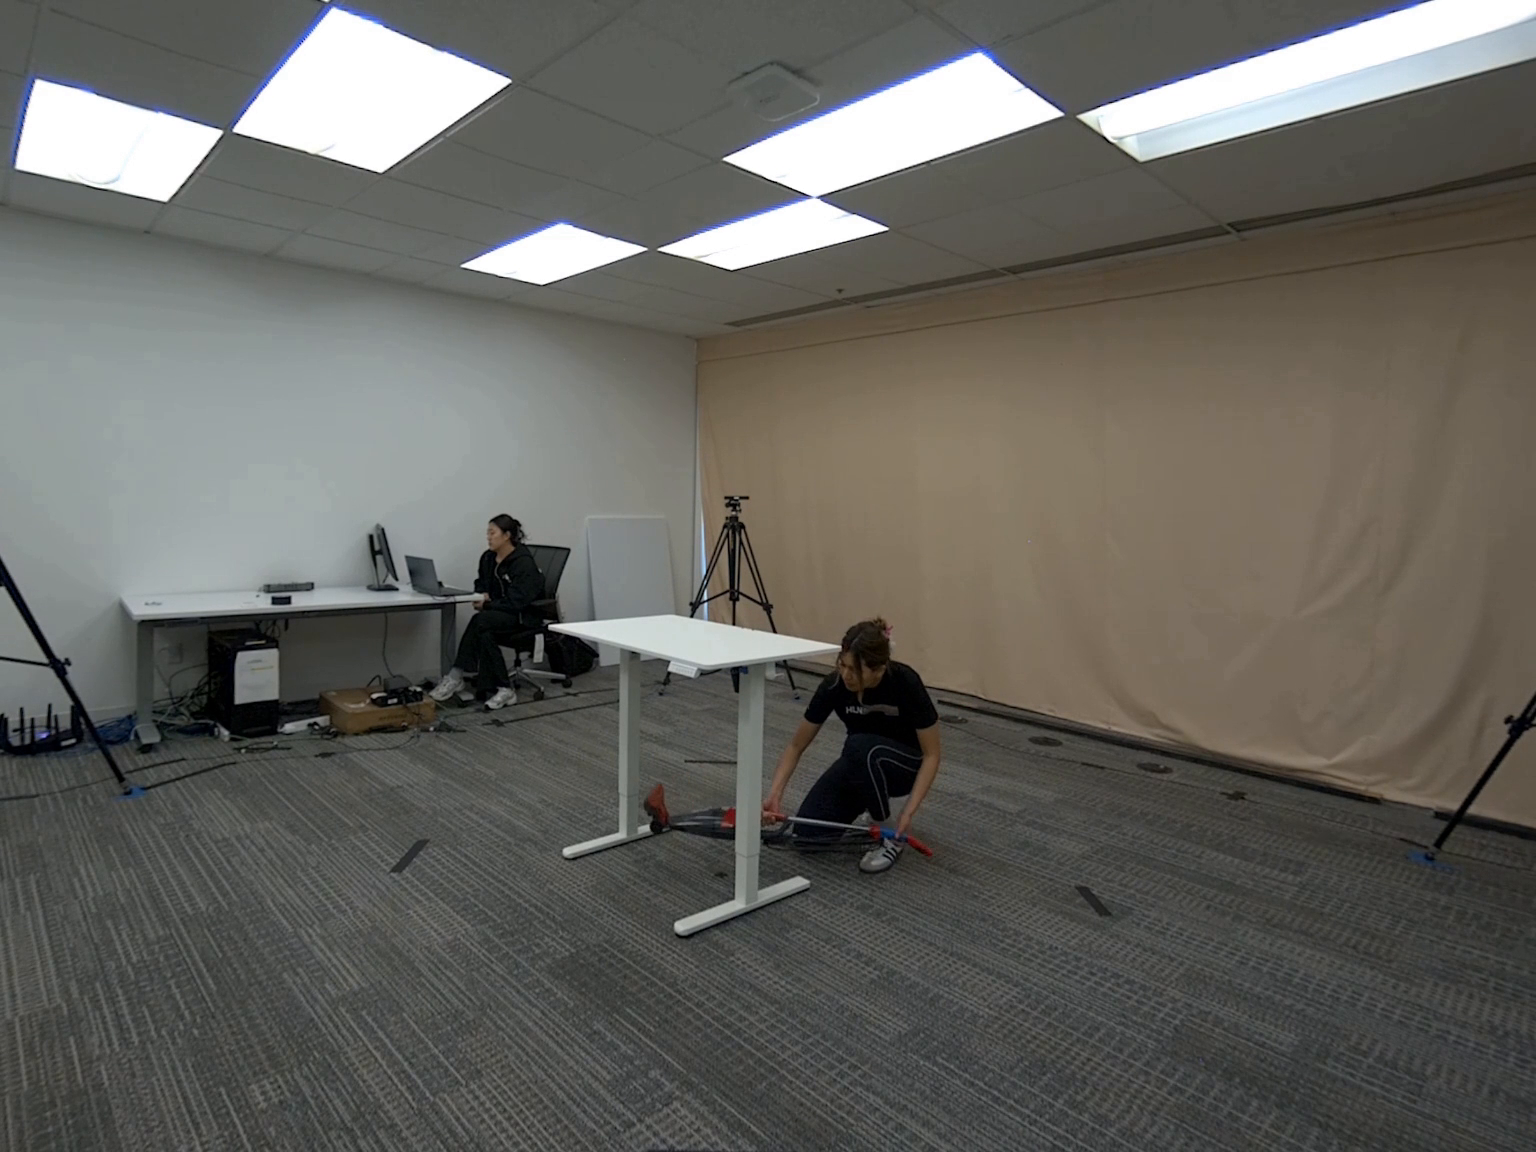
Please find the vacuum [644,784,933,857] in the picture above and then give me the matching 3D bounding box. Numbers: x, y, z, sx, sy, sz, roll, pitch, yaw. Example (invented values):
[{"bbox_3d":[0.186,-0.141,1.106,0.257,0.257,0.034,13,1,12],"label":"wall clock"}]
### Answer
[{"bbox_3d":[0.067,0.956,3.141,1.056,0.144,0.251,7,-1,7],"label":"vacuum"}]
